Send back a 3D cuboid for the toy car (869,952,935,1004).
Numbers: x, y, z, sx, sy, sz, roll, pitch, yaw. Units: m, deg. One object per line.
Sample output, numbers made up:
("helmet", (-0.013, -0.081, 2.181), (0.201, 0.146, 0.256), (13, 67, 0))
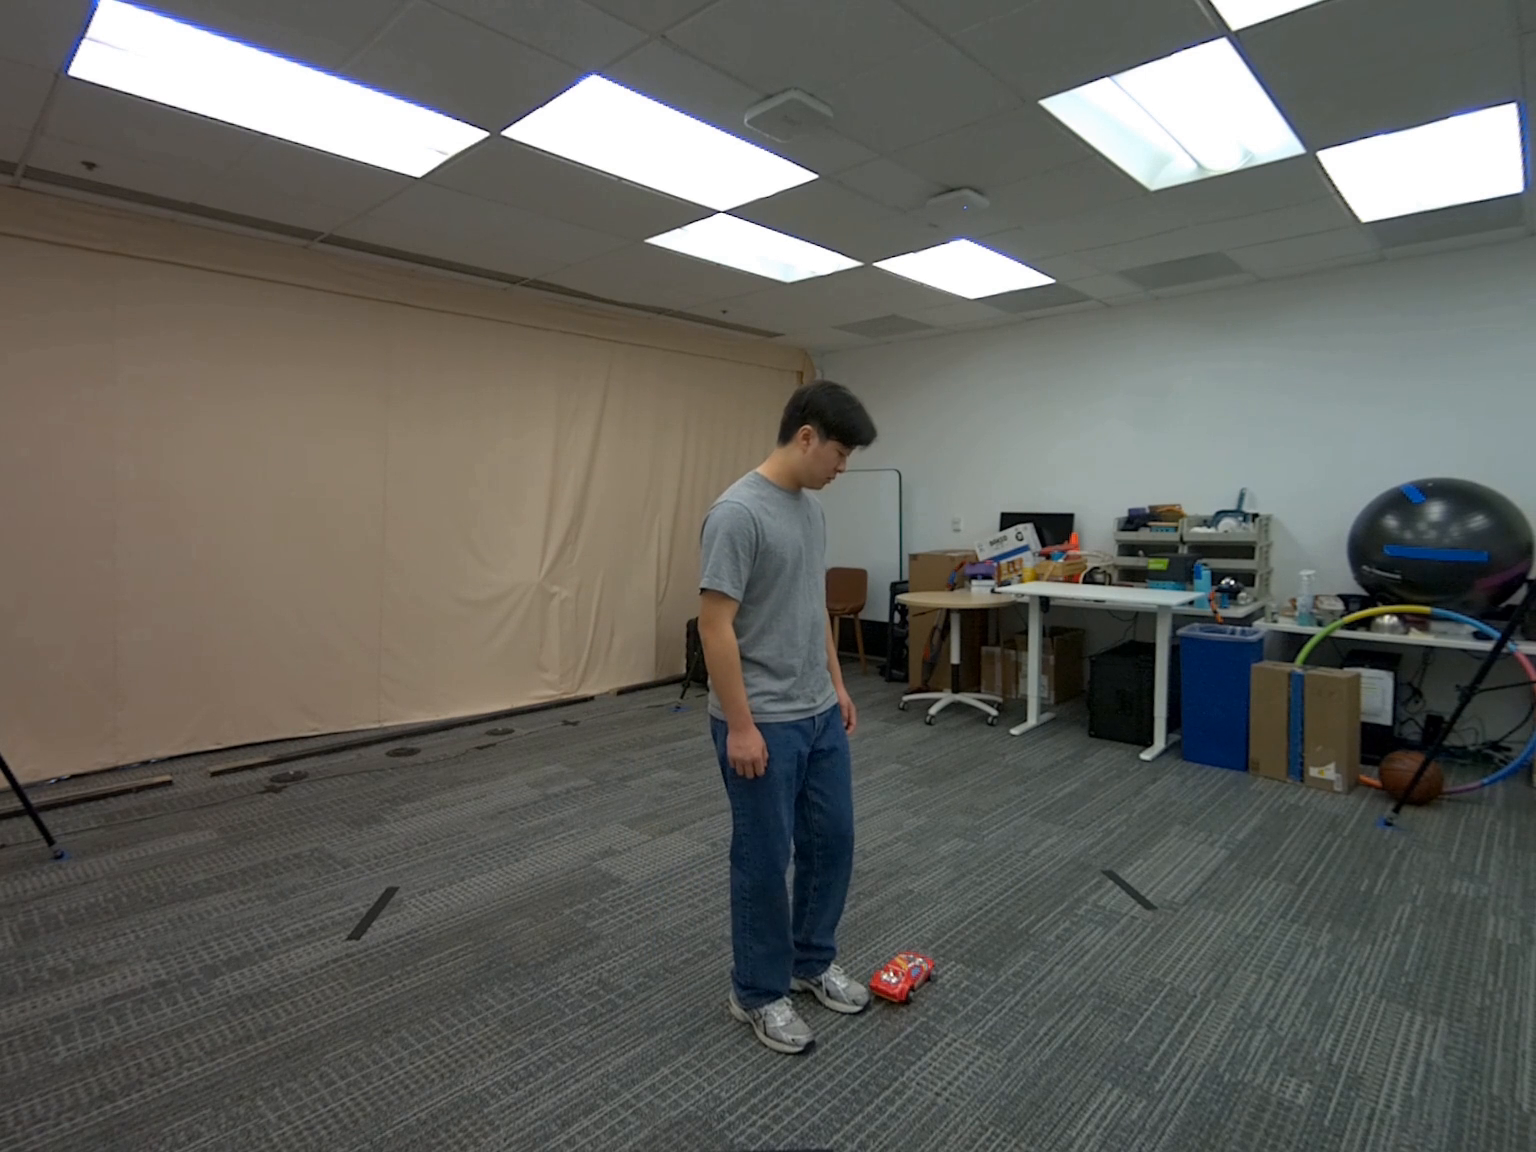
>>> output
("toy car", (0.392, 1.160, 2.422), (0.134, 0.083, 0.246), (5, -4, 37))
